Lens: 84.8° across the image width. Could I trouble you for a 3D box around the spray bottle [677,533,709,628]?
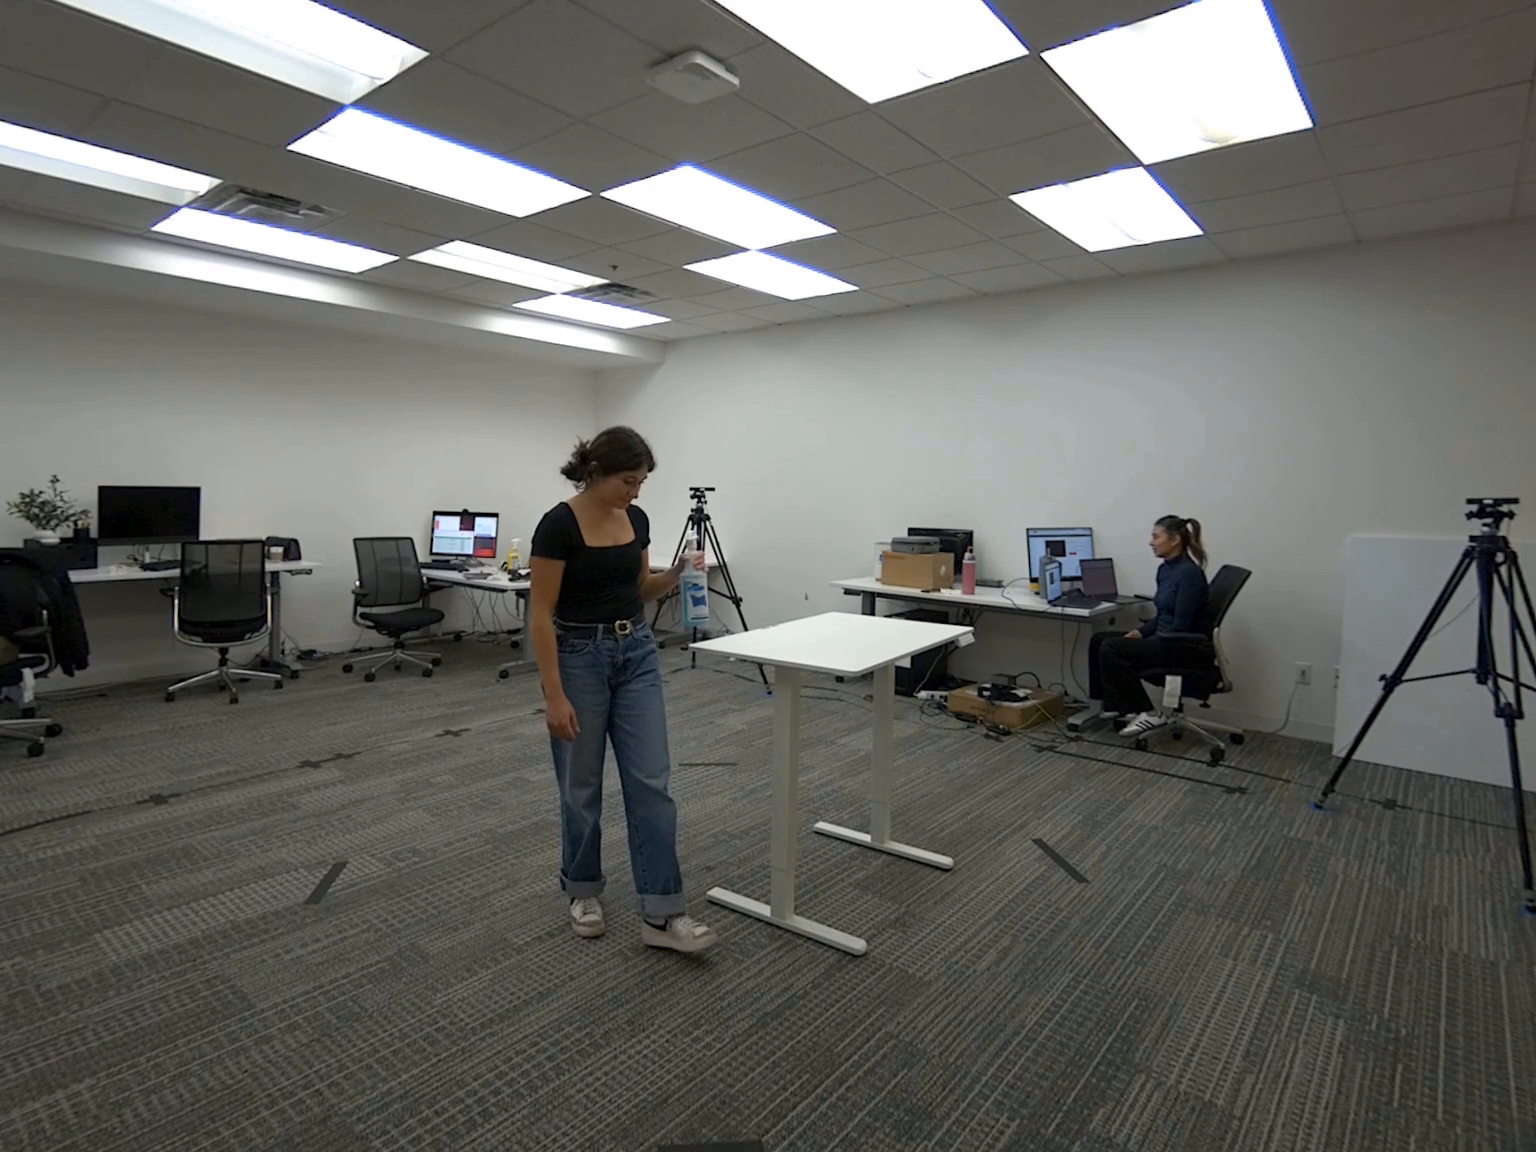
[{"bbox_3d":[-0.244,0.010,2.637,0.089,0.298,0.087,-4,-4,35],"label":"spray bottle"}]
